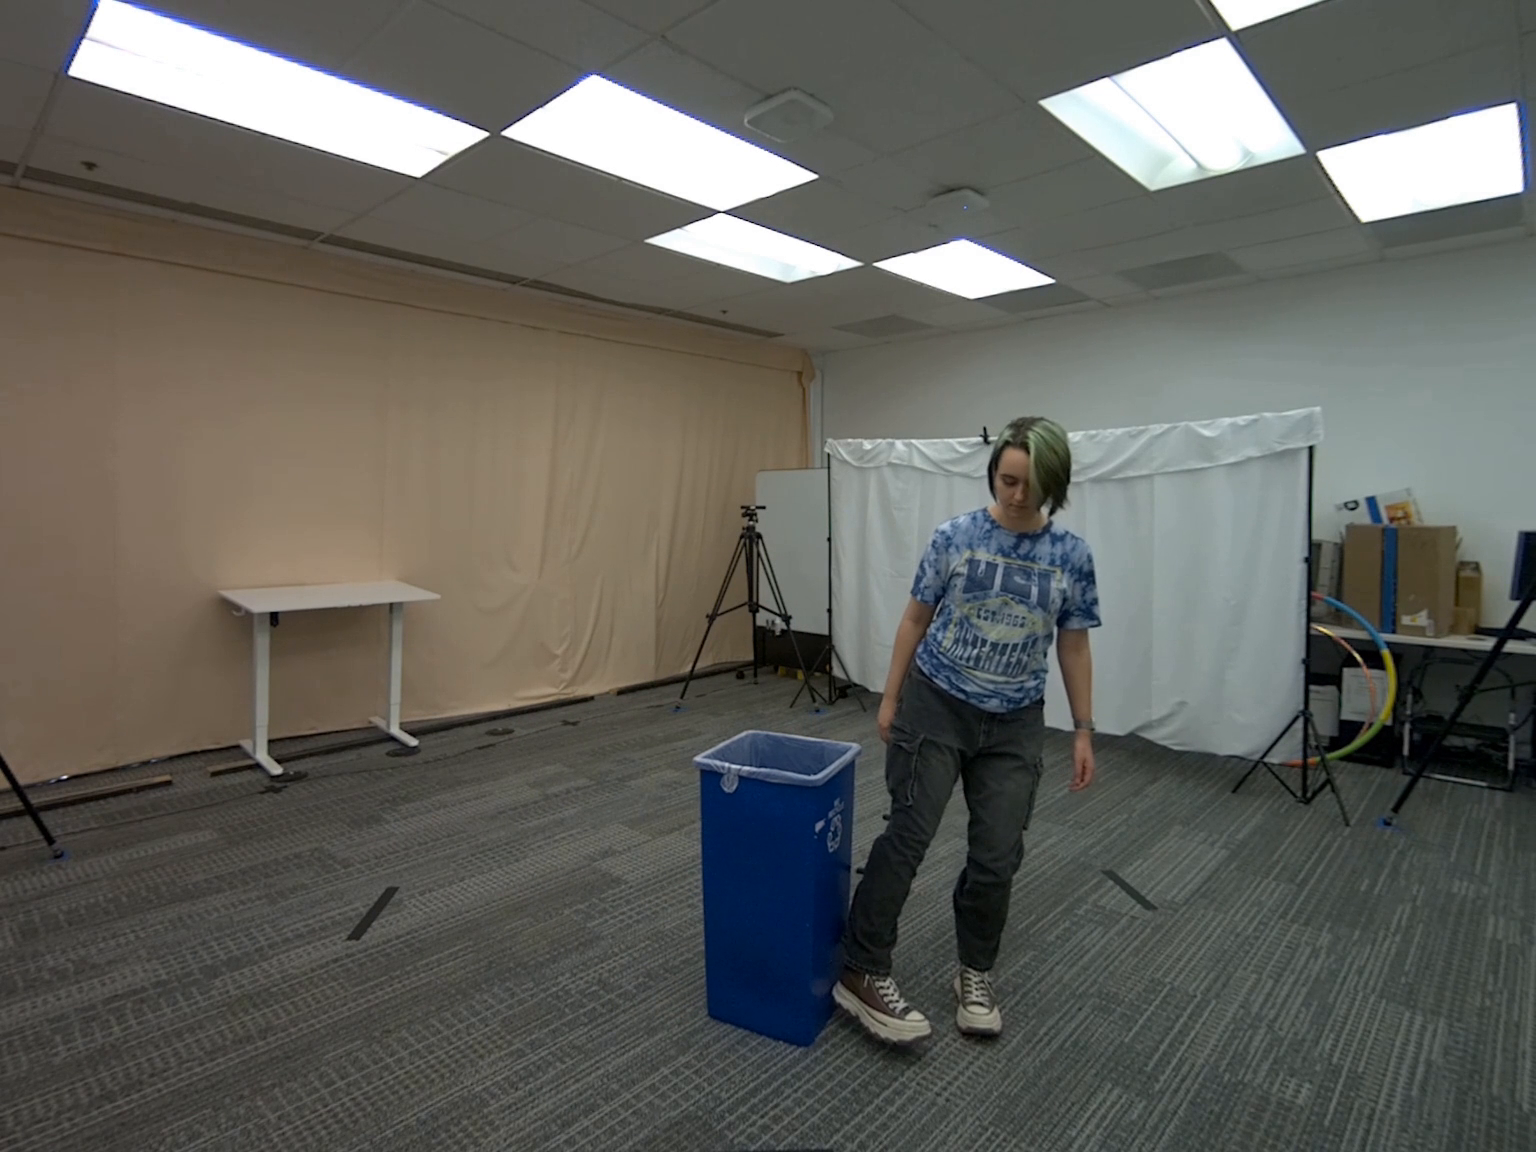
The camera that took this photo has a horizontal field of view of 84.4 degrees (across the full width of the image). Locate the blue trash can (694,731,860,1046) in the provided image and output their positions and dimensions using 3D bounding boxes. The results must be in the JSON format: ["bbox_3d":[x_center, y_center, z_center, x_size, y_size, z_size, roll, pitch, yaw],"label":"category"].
[{"bbox_3d":[0.034,0.840,2.347,0.388,0.712,0.365,2,4,26],"label":"blue trash can"}]
